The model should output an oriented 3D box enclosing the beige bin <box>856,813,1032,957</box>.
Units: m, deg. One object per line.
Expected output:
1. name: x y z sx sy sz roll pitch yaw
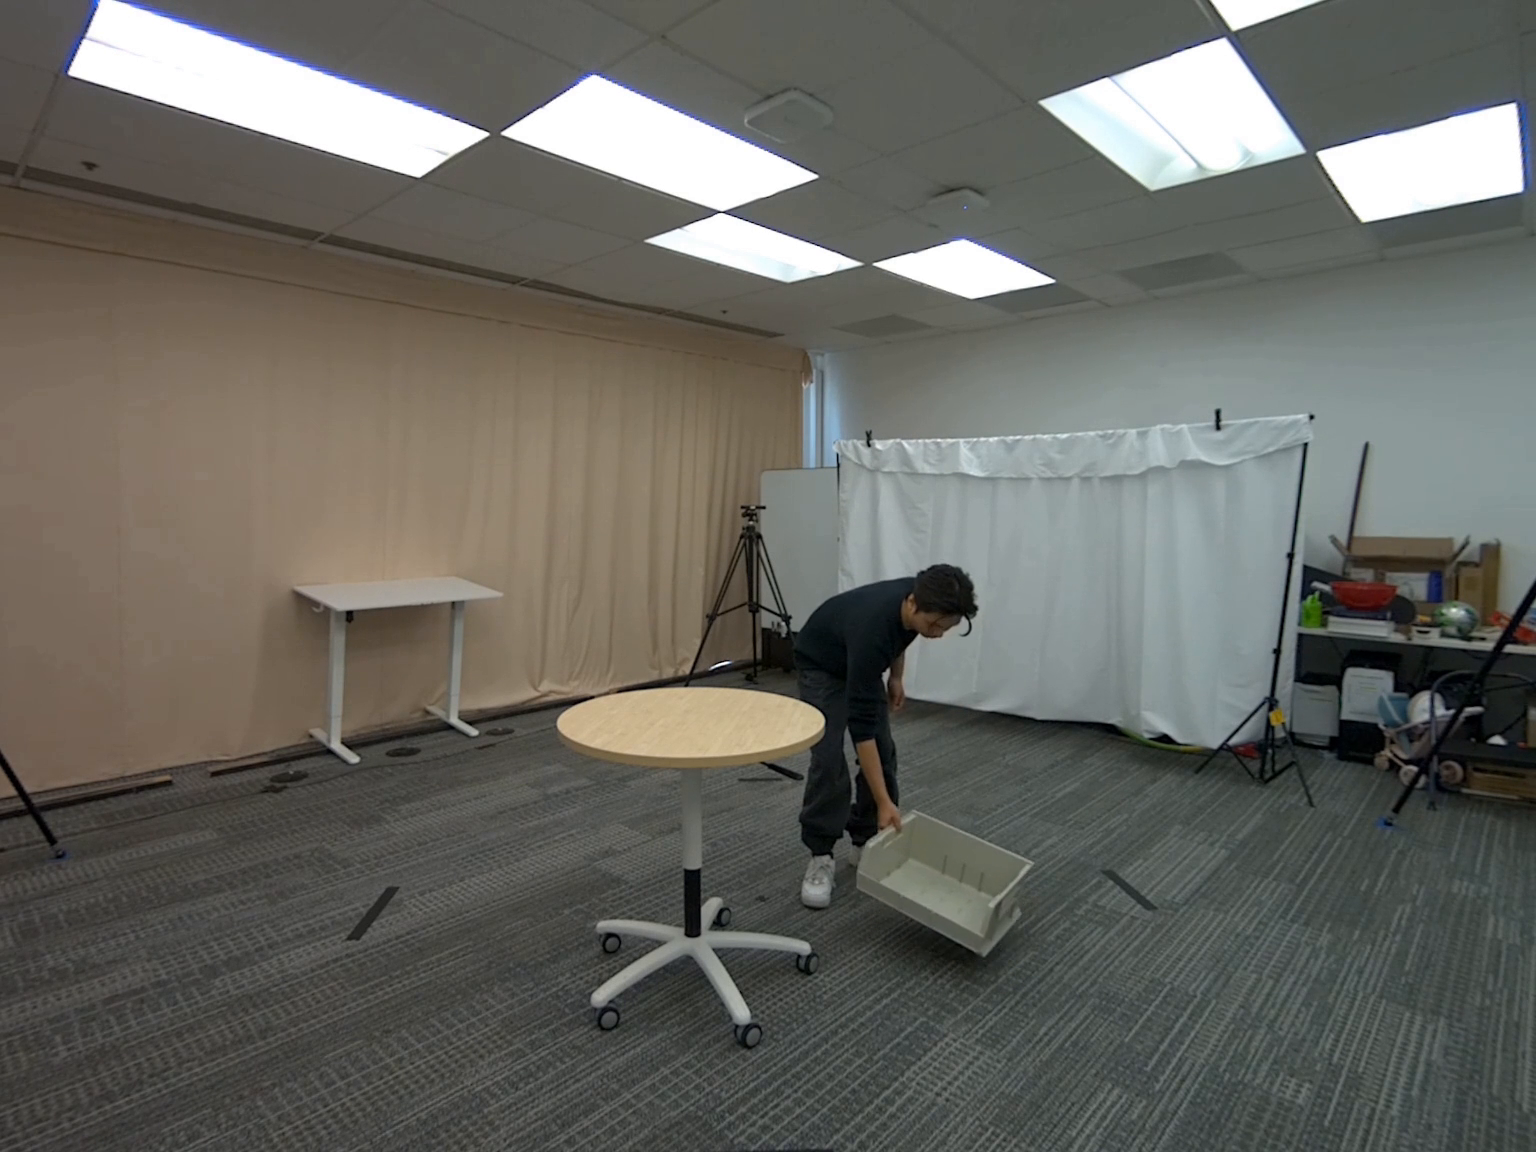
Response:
1. beige bin: 0.572 0.970 2.649 0.436 0.188 0.367 14 13 33
